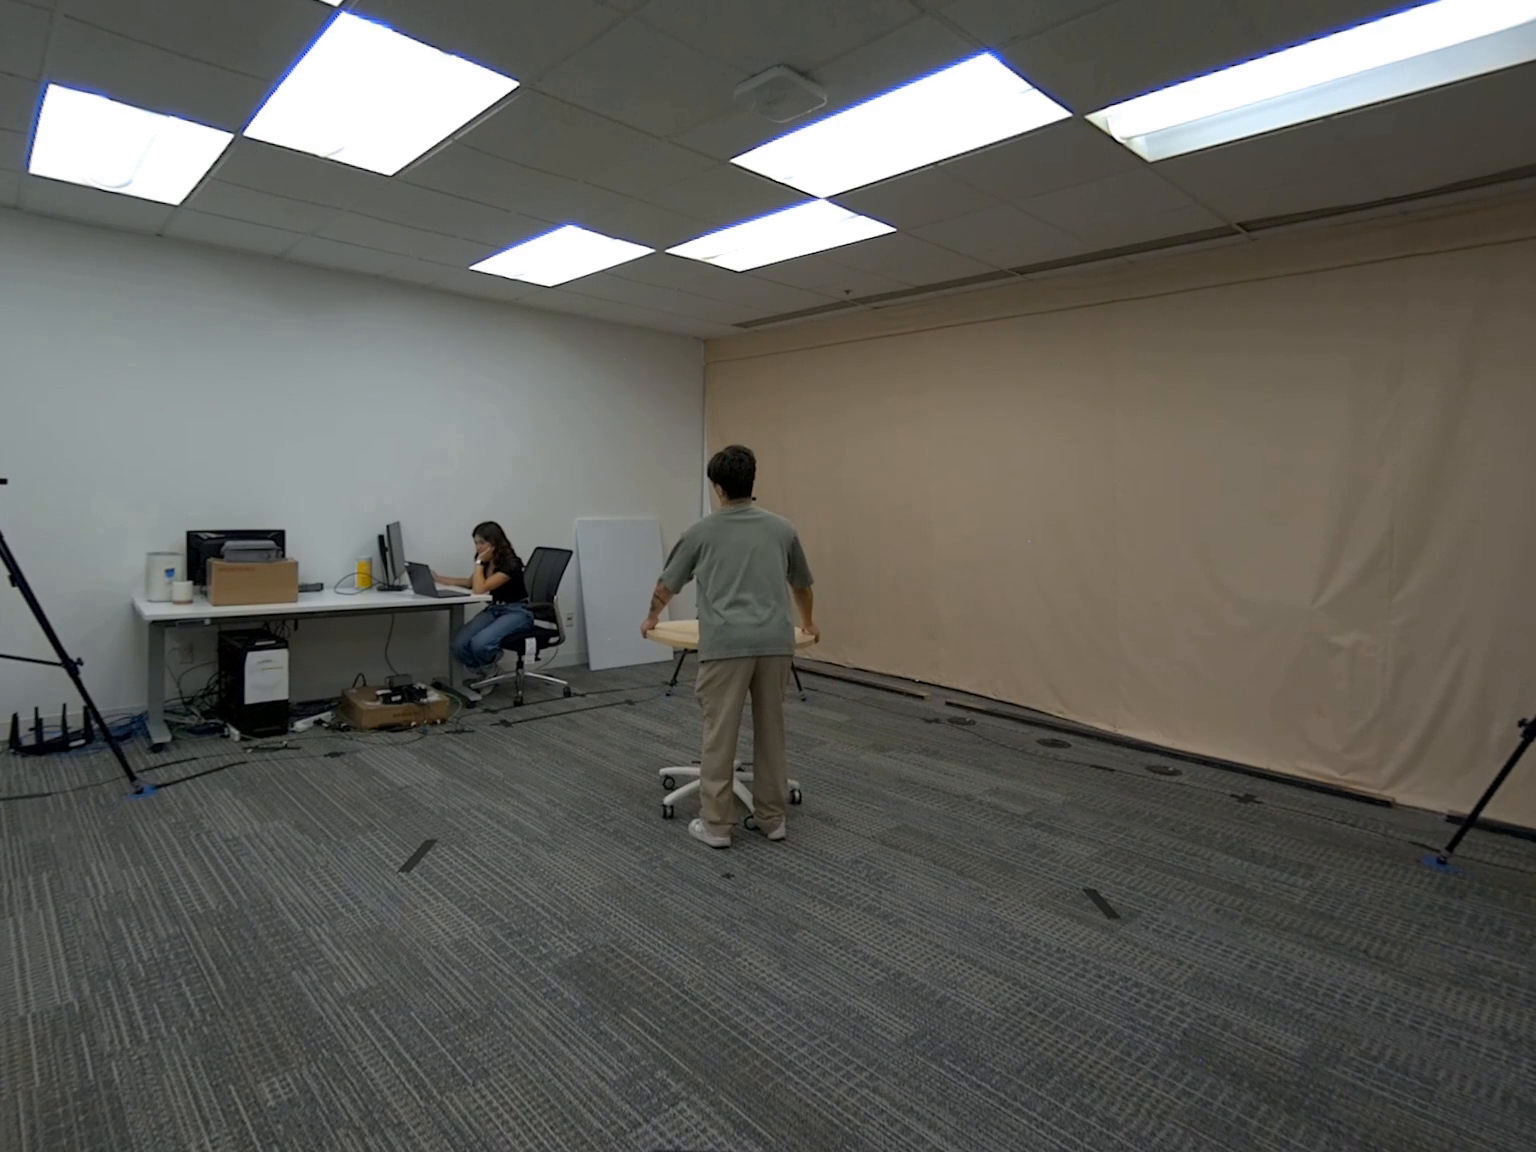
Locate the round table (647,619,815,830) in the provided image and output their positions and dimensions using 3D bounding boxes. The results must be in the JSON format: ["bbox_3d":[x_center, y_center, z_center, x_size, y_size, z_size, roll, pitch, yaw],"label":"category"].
[{"bbox_3d":[-0.180,0.645,3.844,0.784,0.784,0.788,2,4,-1],"label":"round table"}]
